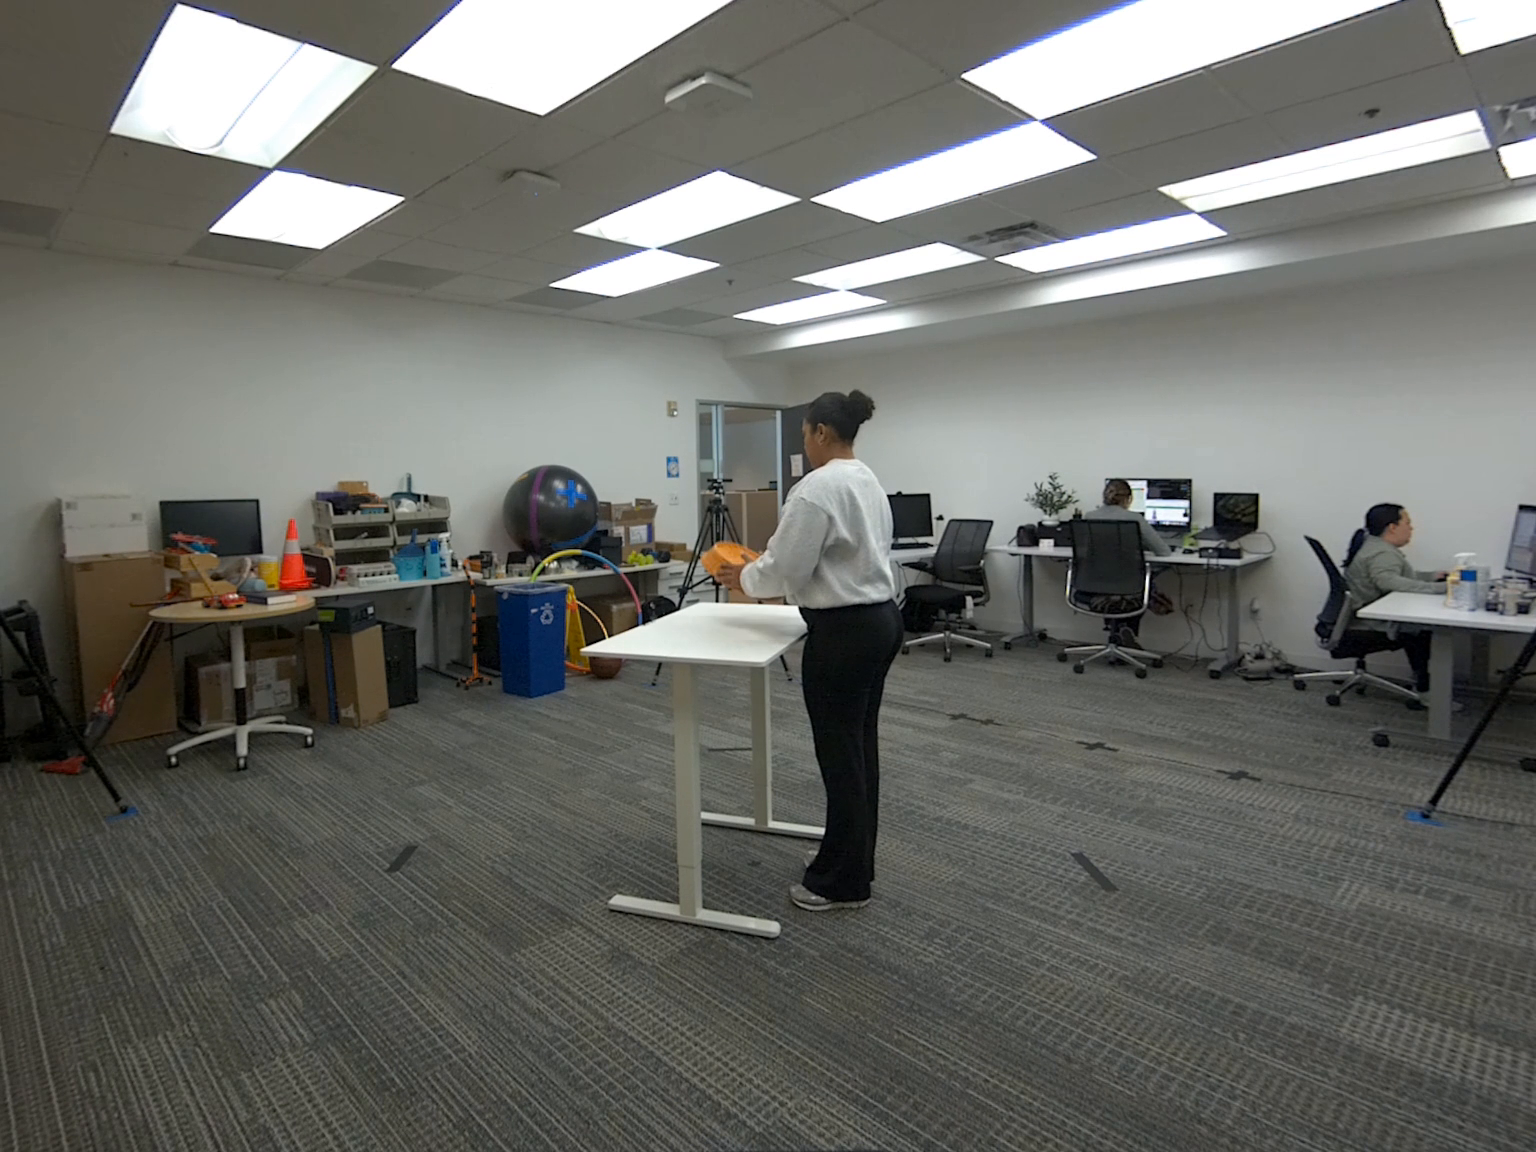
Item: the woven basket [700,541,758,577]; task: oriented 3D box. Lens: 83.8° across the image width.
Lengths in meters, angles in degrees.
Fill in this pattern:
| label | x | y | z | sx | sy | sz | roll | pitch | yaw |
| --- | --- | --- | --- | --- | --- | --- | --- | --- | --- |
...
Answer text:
| label | x | y | z | sx | sy | sz | roll | pitch | yaw |
| --- | --- | --- | --- | --- | --- | --- | --- | --- | --- |
| woven basket | -0.058 | -0.044 | 3.042 | 0.360 | 0.073 | 0.248 | 28 | 22 | 22 |
